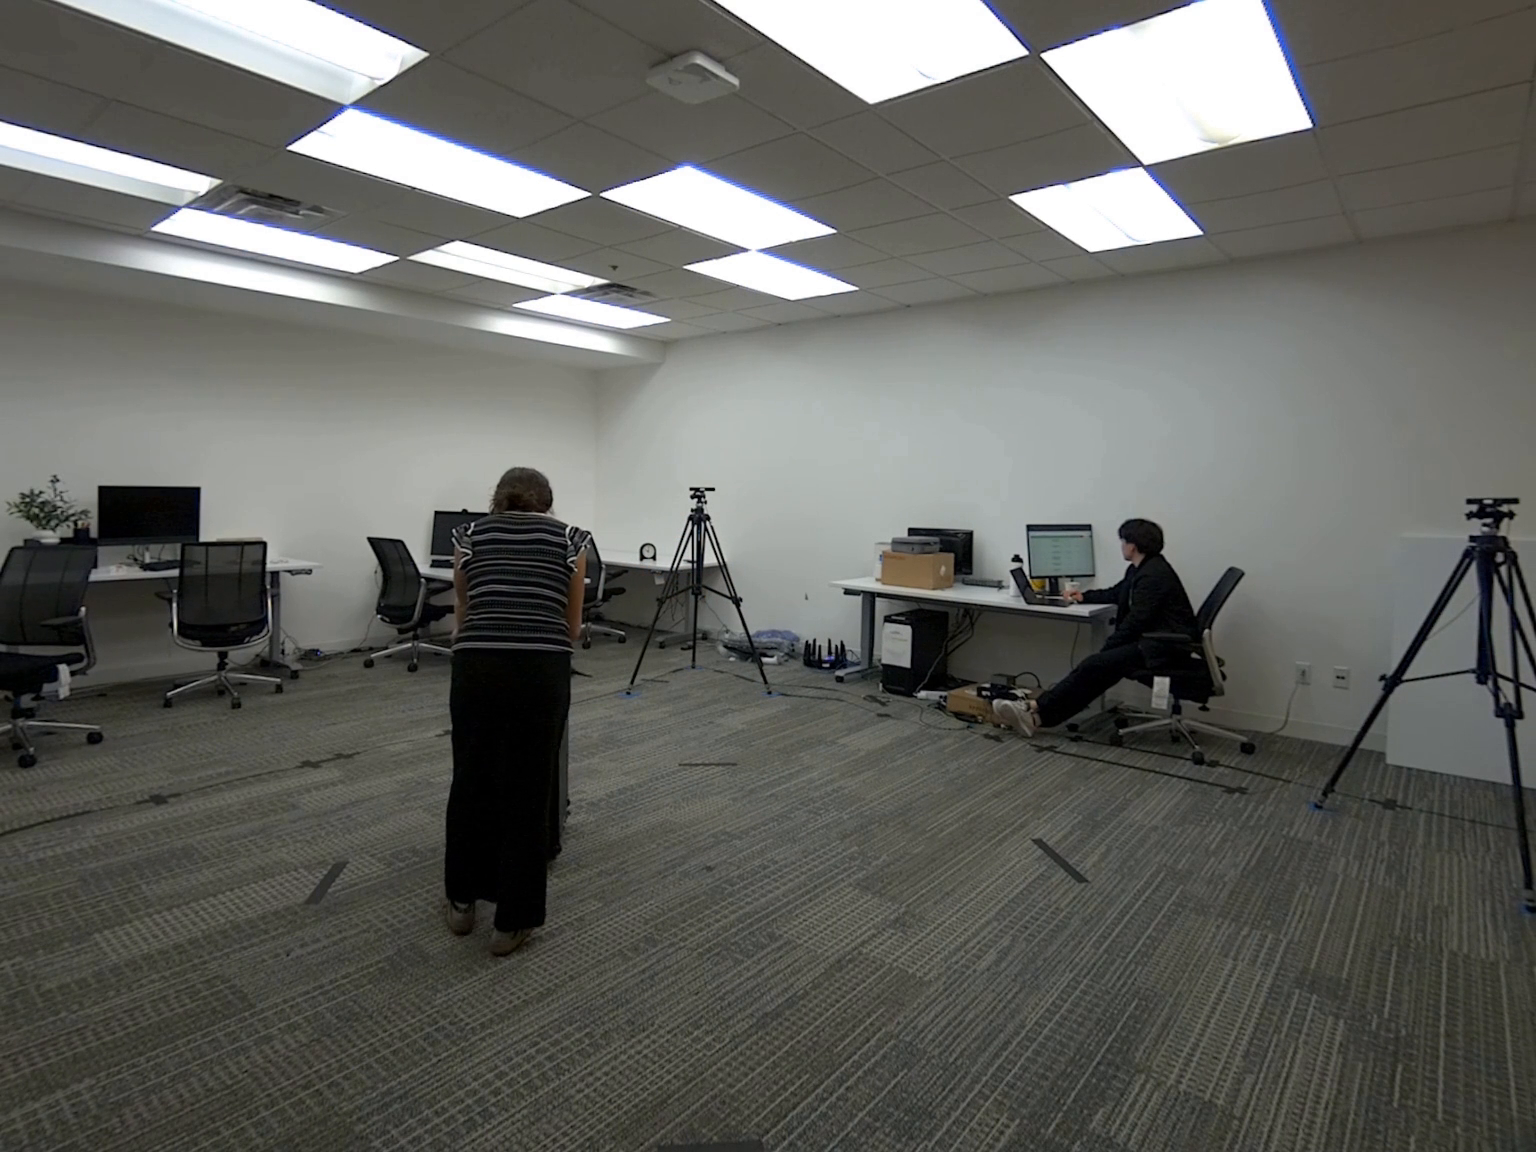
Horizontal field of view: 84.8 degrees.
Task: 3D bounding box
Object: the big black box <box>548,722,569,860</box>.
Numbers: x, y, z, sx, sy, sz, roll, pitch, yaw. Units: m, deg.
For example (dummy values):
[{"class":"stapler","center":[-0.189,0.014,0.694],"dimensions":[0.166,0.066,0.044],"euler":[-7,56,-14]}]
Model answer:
[{"class":"big black box","center":[-0.973,0.616,3.246],"dimensions":[0.394,0.858,0.526],"euler":[0,4,-7]}]
